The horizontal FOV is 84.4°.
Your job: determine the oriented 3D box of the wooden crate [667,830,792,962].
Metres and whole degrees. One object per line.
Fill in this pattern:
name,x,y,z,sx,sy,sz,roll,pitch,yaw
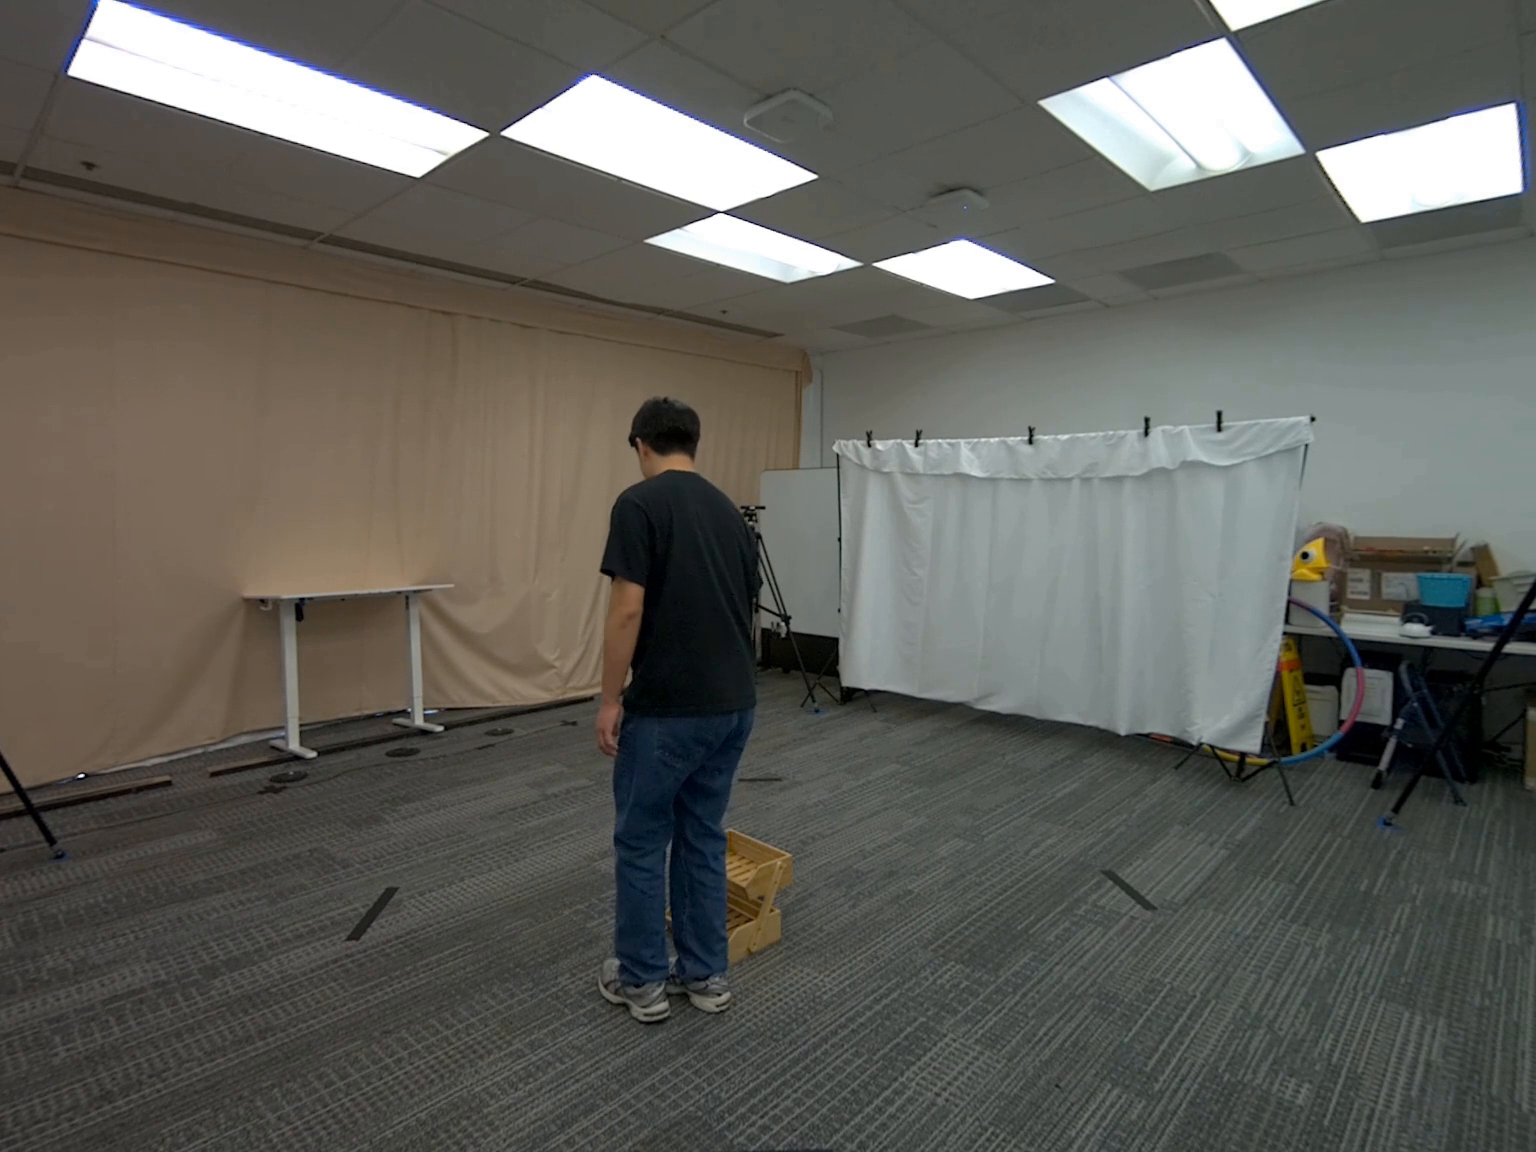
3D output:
wooden crate,-0.131,1.031,2.747,0.292,0.273,0.335,-3,5,-43
